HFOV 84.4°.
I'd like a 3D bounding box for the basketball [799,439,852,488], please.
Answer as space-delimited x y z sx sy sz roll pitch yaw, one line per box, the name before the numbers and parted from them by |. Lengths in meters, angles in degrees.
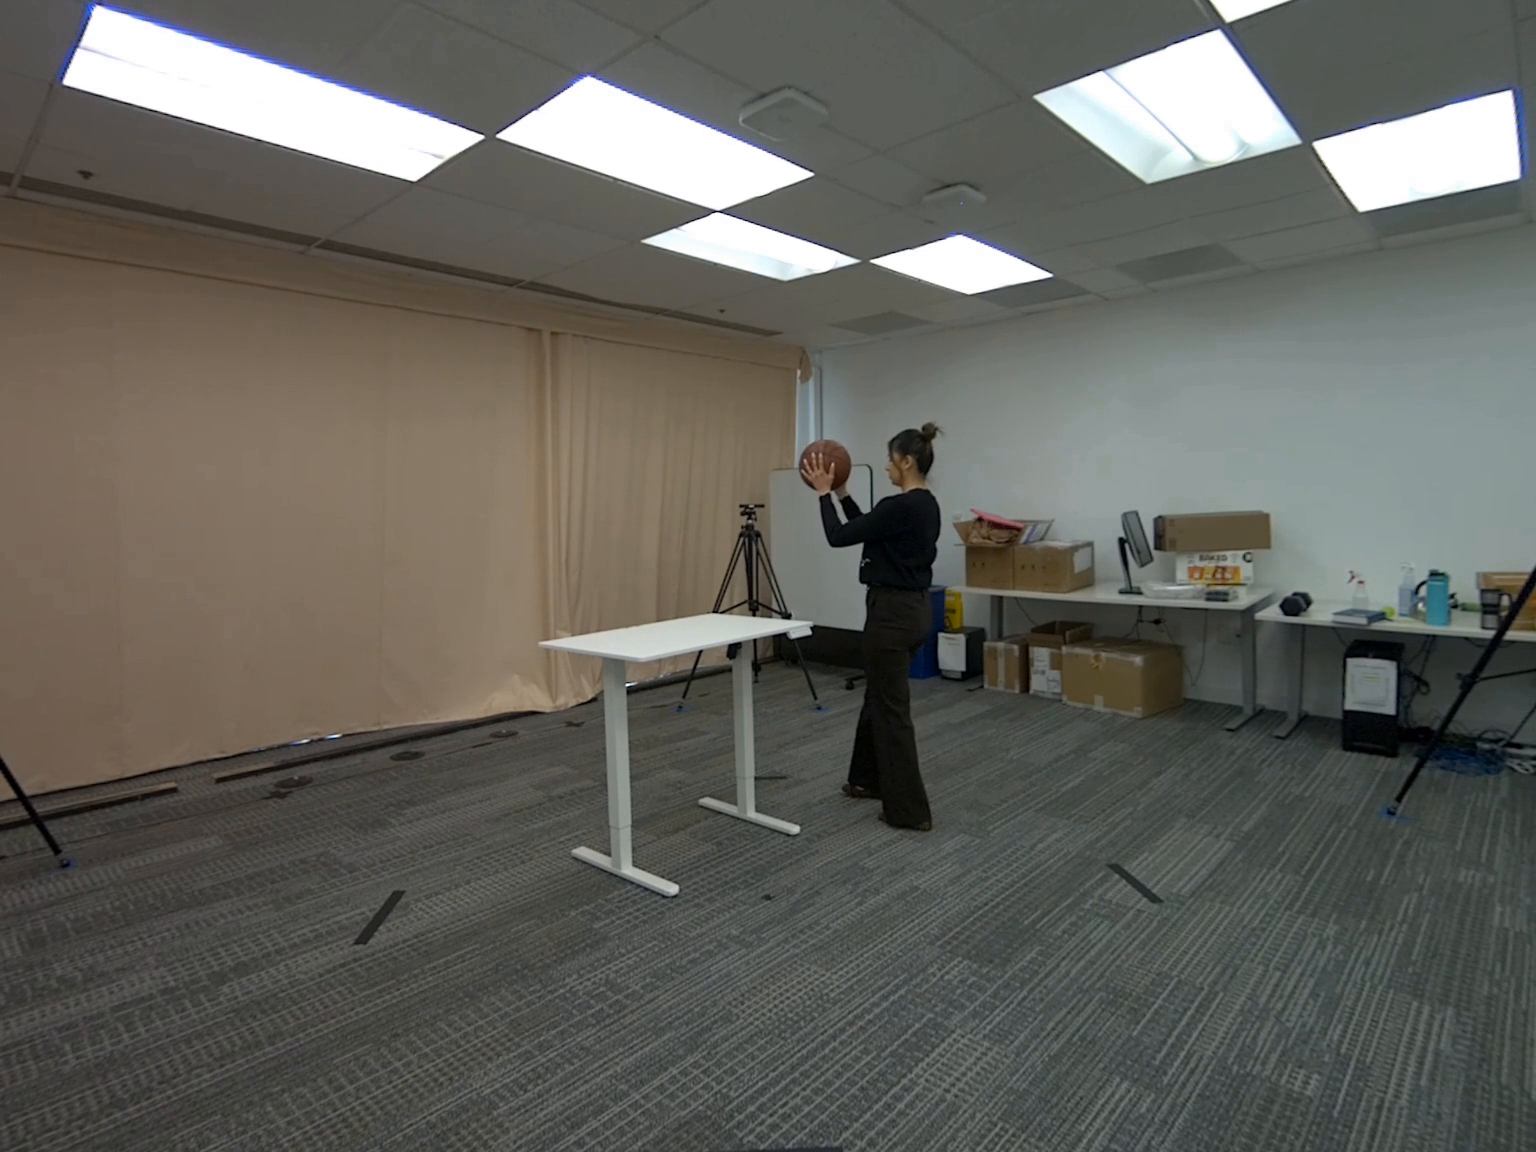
basketball | 0.263 -0.499 3.799 0.236 0.235 0.237 -1 4 -2
